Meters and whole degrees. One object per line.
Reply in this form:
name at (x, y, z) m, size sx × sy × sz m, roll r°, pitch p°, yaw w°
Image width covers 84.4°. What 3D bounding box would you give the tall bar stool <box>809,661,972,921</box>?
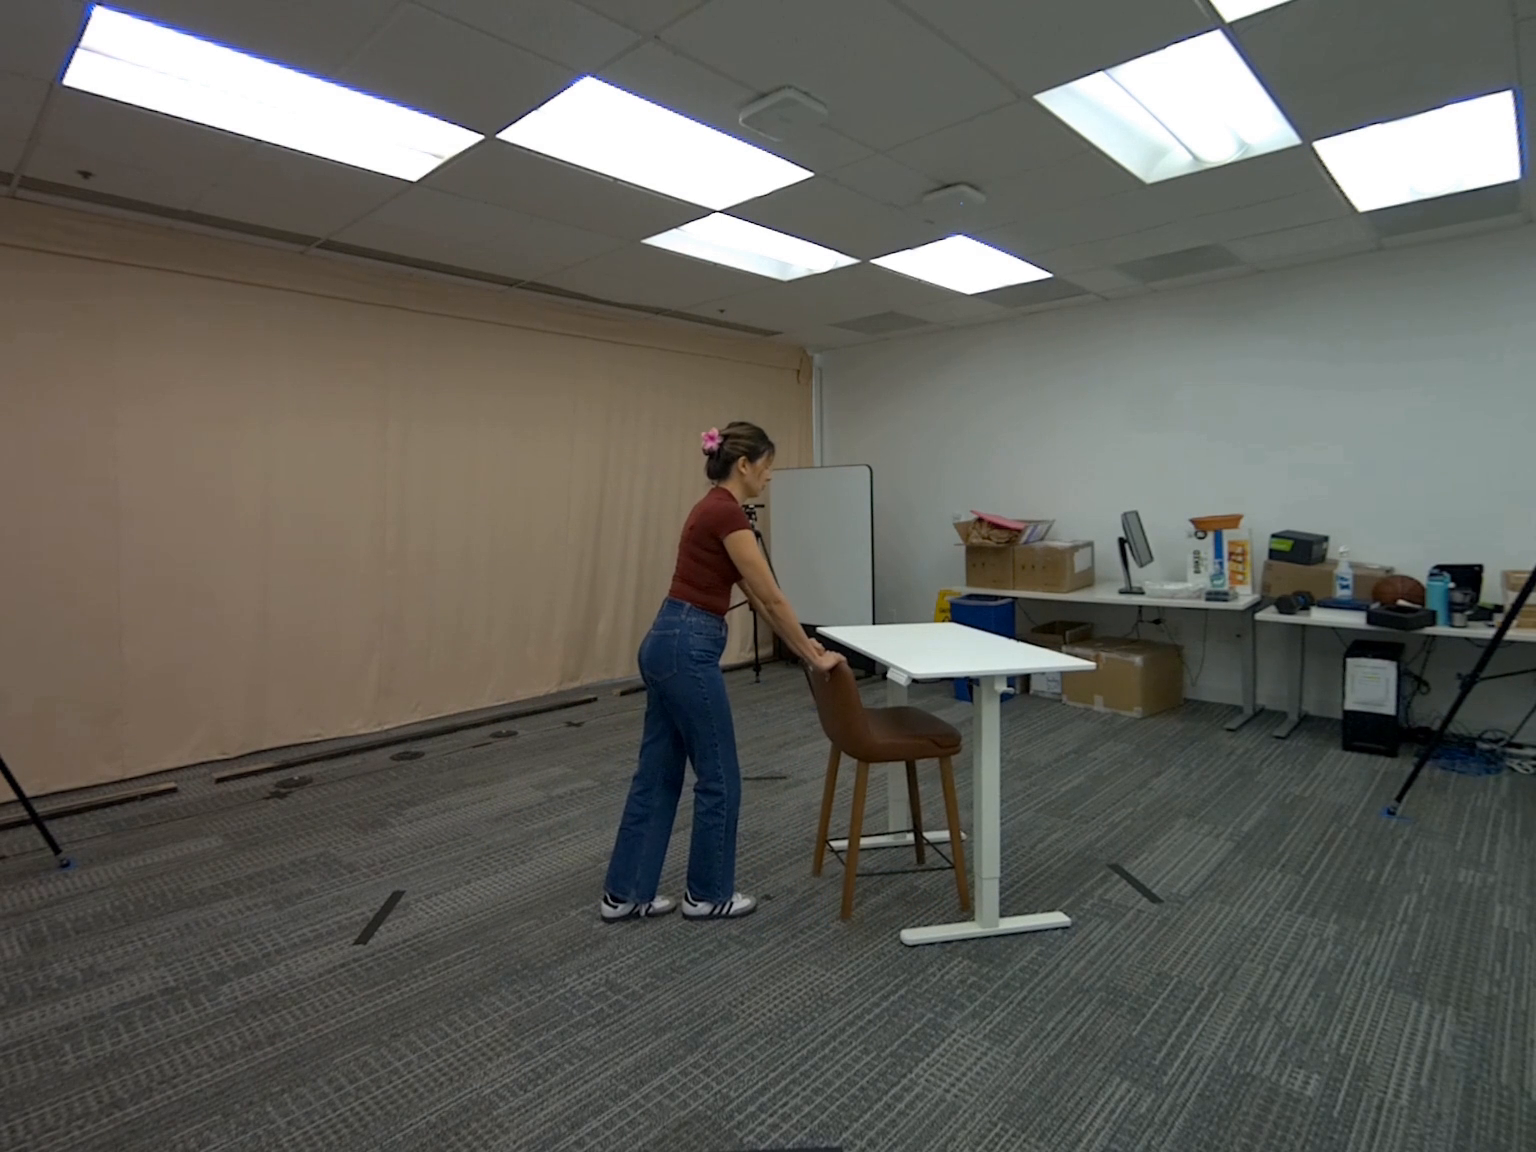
tall bar stool at (0.408, 0.695, 2.995) m, size 0.462 × 0.887 × 0.463 m, roll -3°, pitch 4°, yaw -11°
